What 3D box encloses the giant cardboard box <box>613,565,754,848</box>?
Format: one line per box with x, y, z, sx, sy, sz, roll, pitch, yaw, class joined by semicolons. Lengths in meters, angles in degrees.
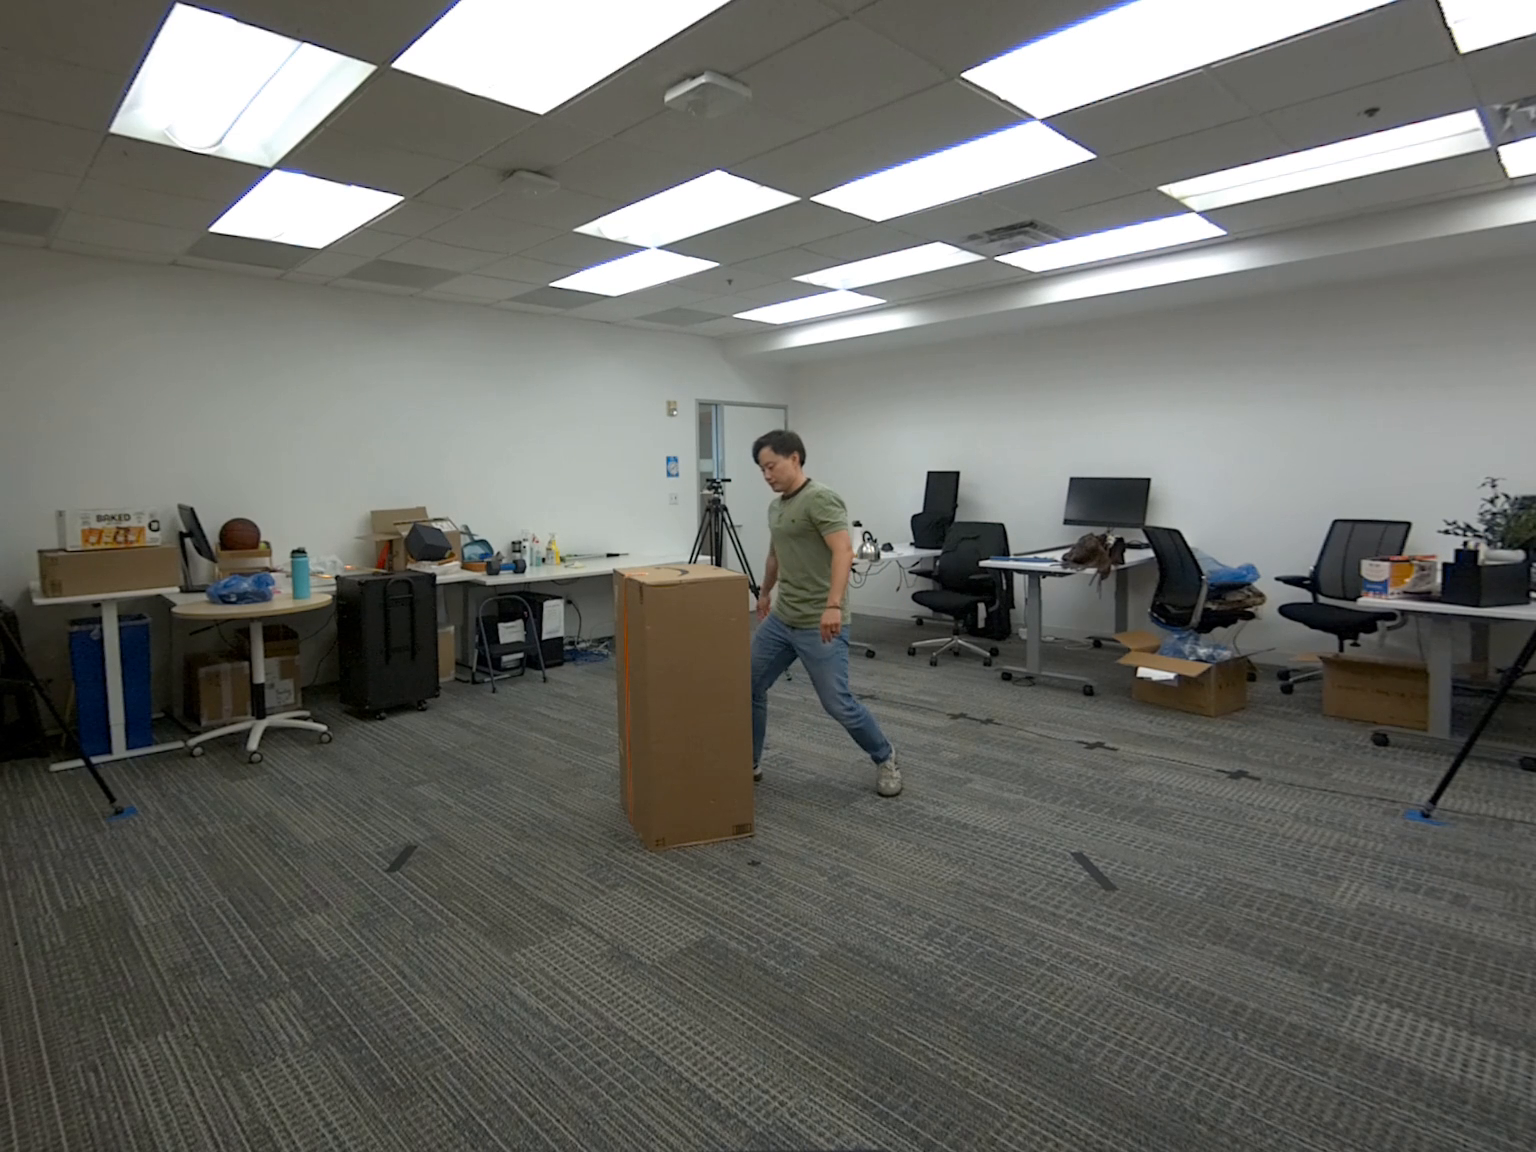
-0.362;0.490;3.506;0.419;1.022;0.590;-2;4;-20;giant cardboard box
